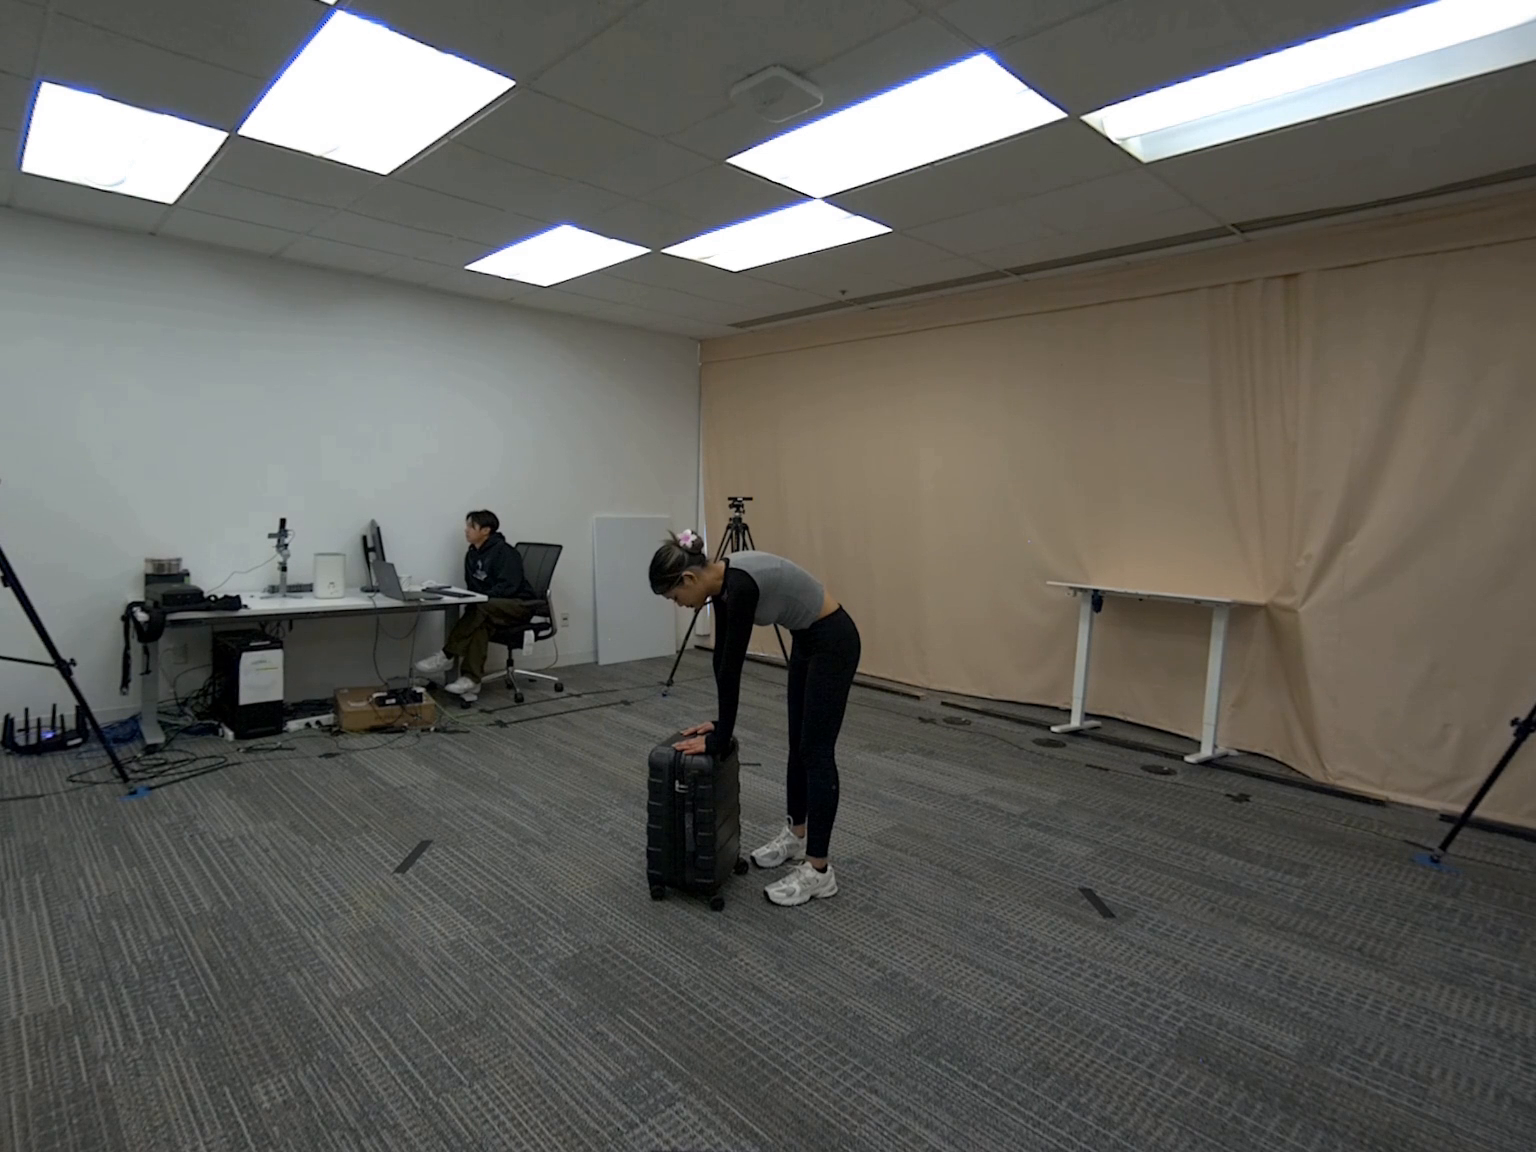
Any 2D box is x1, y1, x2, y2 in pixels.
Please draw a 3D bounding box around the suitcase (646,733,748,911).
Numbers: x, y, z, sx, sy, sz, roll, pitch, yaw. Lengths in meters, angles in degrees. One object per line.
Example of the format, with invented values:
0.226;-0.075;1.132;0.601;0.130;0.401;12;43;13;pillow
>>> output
-0.262;0.840;3.005;0.252;0.548;0.371;1;4;18;suitcase
